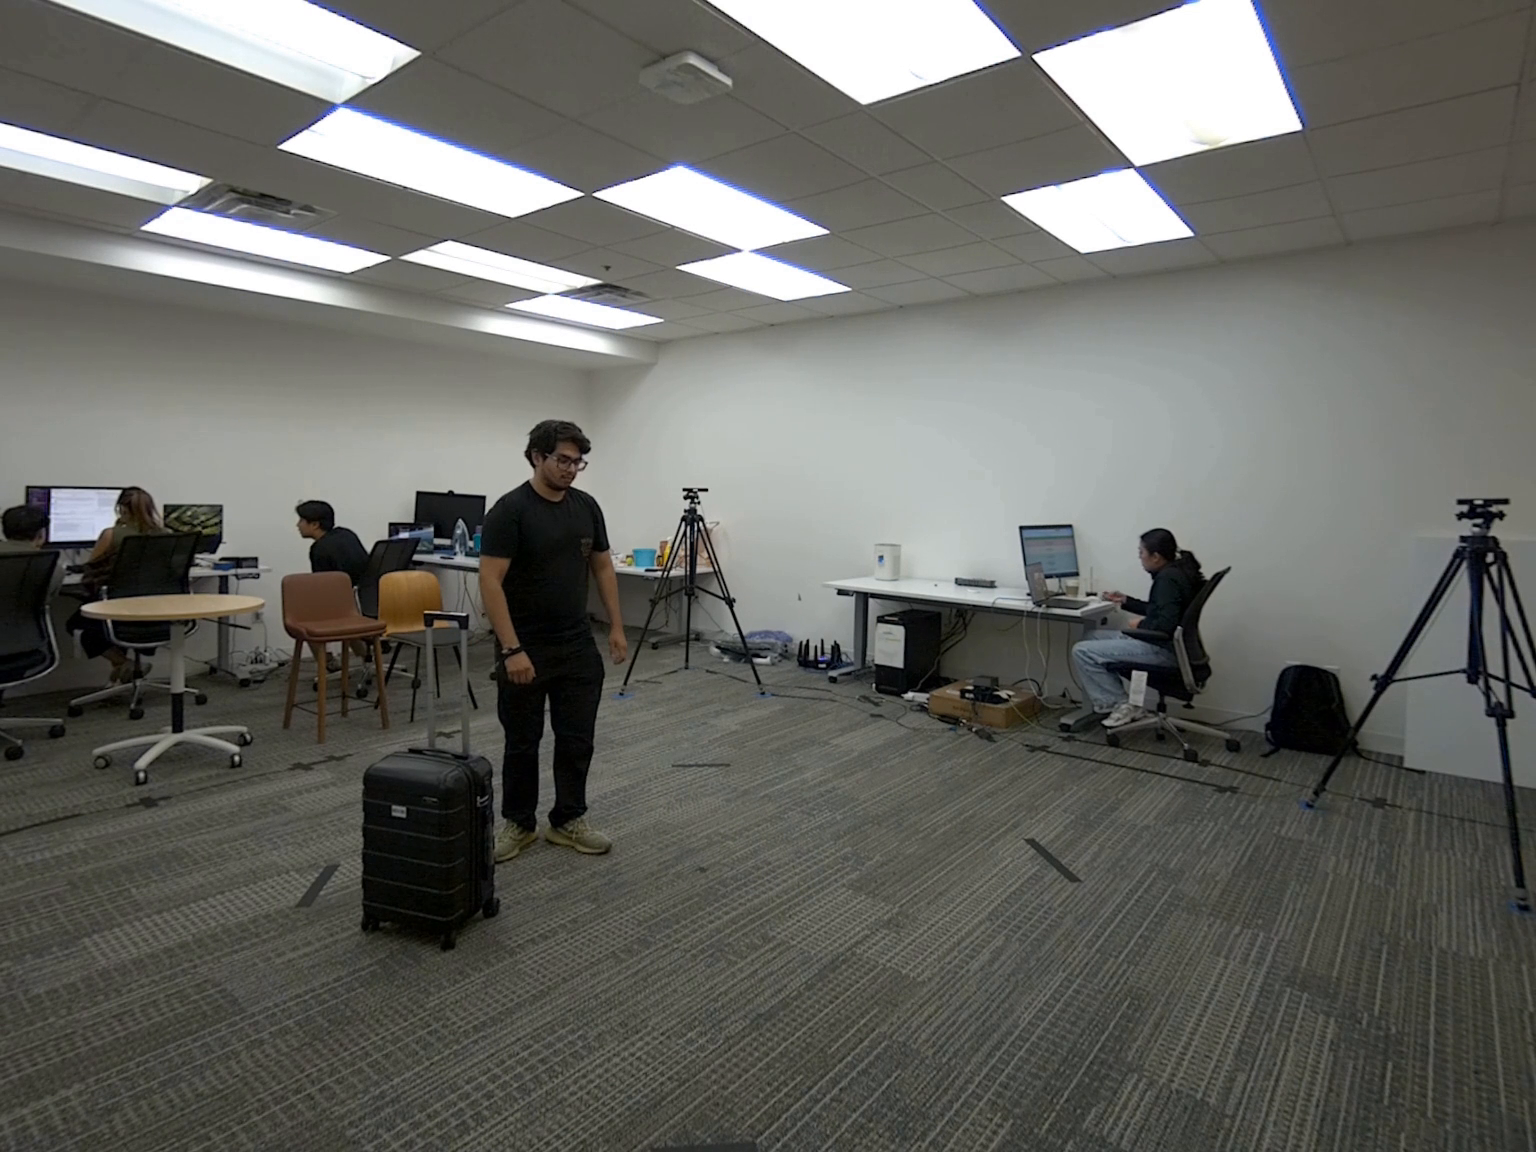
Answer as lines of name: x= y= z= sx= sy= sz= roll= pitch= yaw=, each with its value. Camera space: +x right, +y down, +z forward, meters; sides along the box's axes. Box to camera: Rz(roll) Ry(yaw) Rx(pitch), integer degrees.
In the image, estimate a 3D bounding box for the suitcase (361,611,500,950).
suitcase: x=-1.069 y=0.628 z=2.645 sx=0.391 sy=0.973 sz=0.254 roll=3 pitch=6 yaw=16
